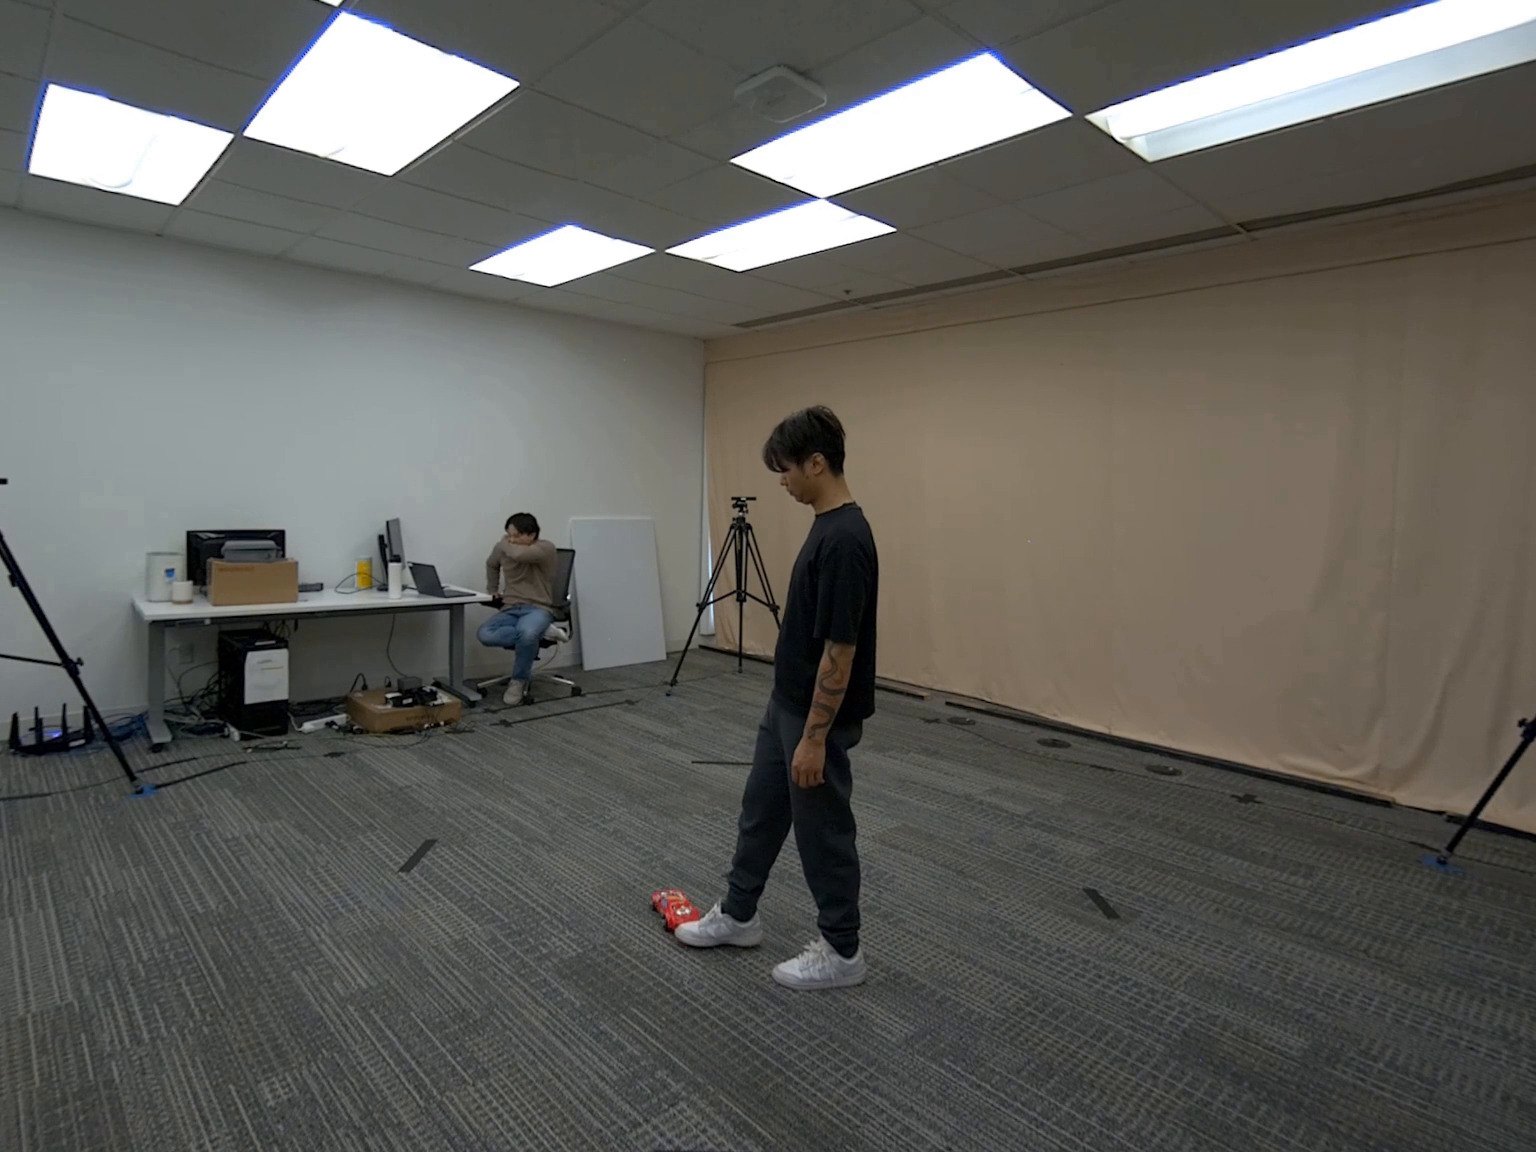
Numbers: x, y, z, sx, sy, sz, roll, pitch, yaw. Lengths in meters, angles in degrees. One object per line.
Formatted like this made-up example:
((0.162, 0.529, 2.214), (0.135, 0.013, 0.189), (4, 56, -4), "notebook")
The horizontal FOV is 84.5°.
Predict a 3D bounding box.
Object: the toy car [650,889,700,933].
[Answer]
((-0.306, 1.101, 2.763), (0.128, 0.083, 0.258), (-1, -5, -24), "toy car")
